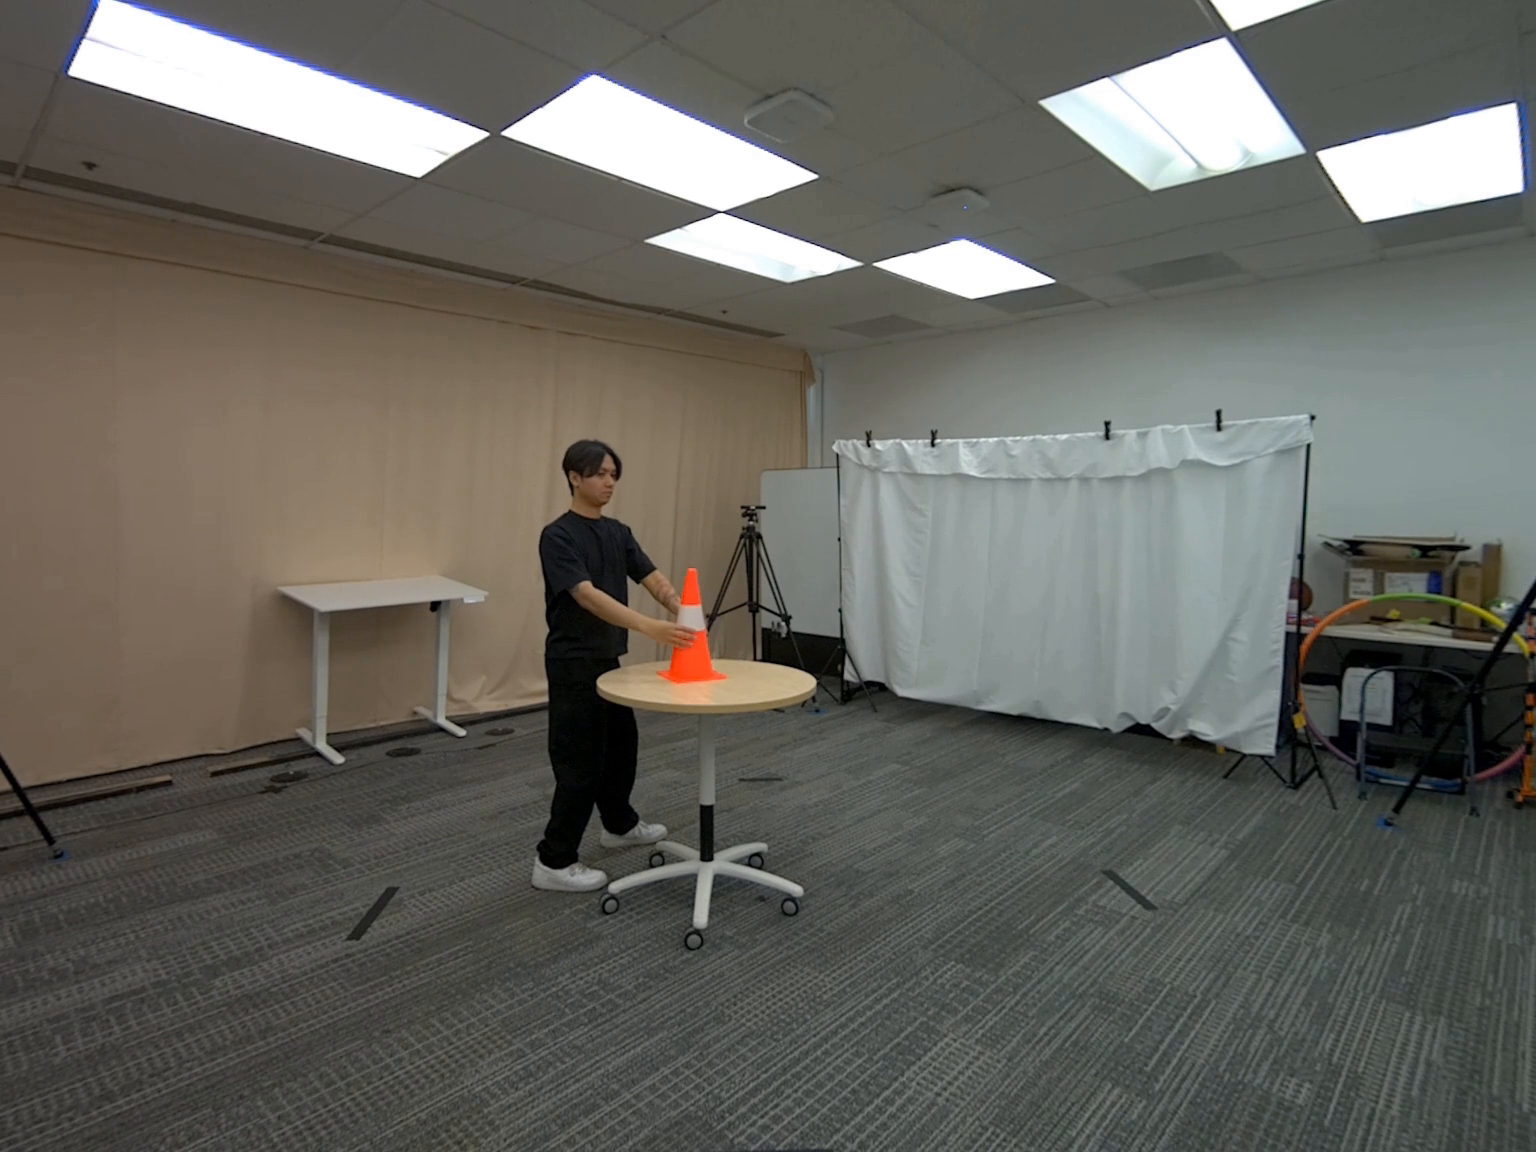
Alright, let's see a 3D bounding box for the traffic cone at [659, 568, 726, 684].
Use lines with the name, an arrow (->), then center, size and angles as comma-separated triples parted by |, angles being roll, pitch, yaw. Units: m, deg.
traffic cone -> -0.268, 0.161, 2.993 | 0.199, 0.382, 0.210 | -3, 7, -38
